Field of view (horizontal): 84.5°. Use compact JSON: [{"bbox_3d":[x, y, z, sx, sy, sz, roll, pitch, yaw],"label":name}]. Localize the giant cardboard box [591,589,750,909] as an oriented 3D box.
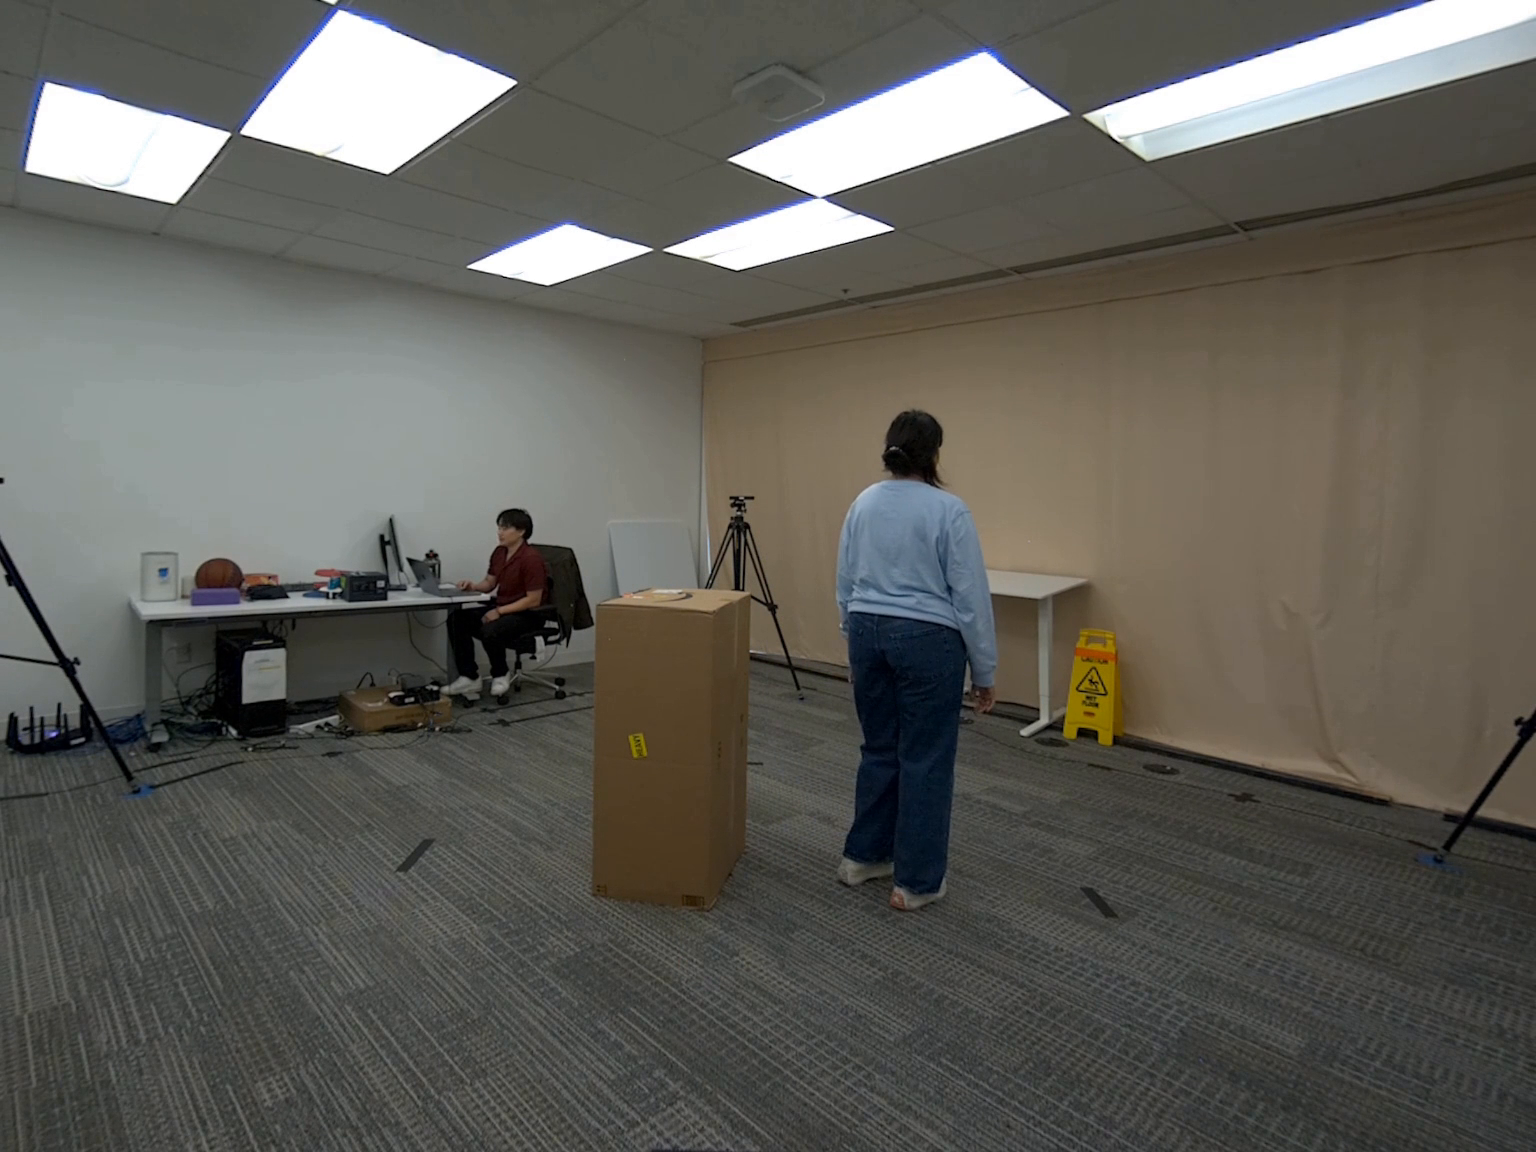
[{"bbox_3d":[-0.341,0.586,3.129,0.431,1.023,0.573,2,4,12],"label":"giant cardboard box"}]
